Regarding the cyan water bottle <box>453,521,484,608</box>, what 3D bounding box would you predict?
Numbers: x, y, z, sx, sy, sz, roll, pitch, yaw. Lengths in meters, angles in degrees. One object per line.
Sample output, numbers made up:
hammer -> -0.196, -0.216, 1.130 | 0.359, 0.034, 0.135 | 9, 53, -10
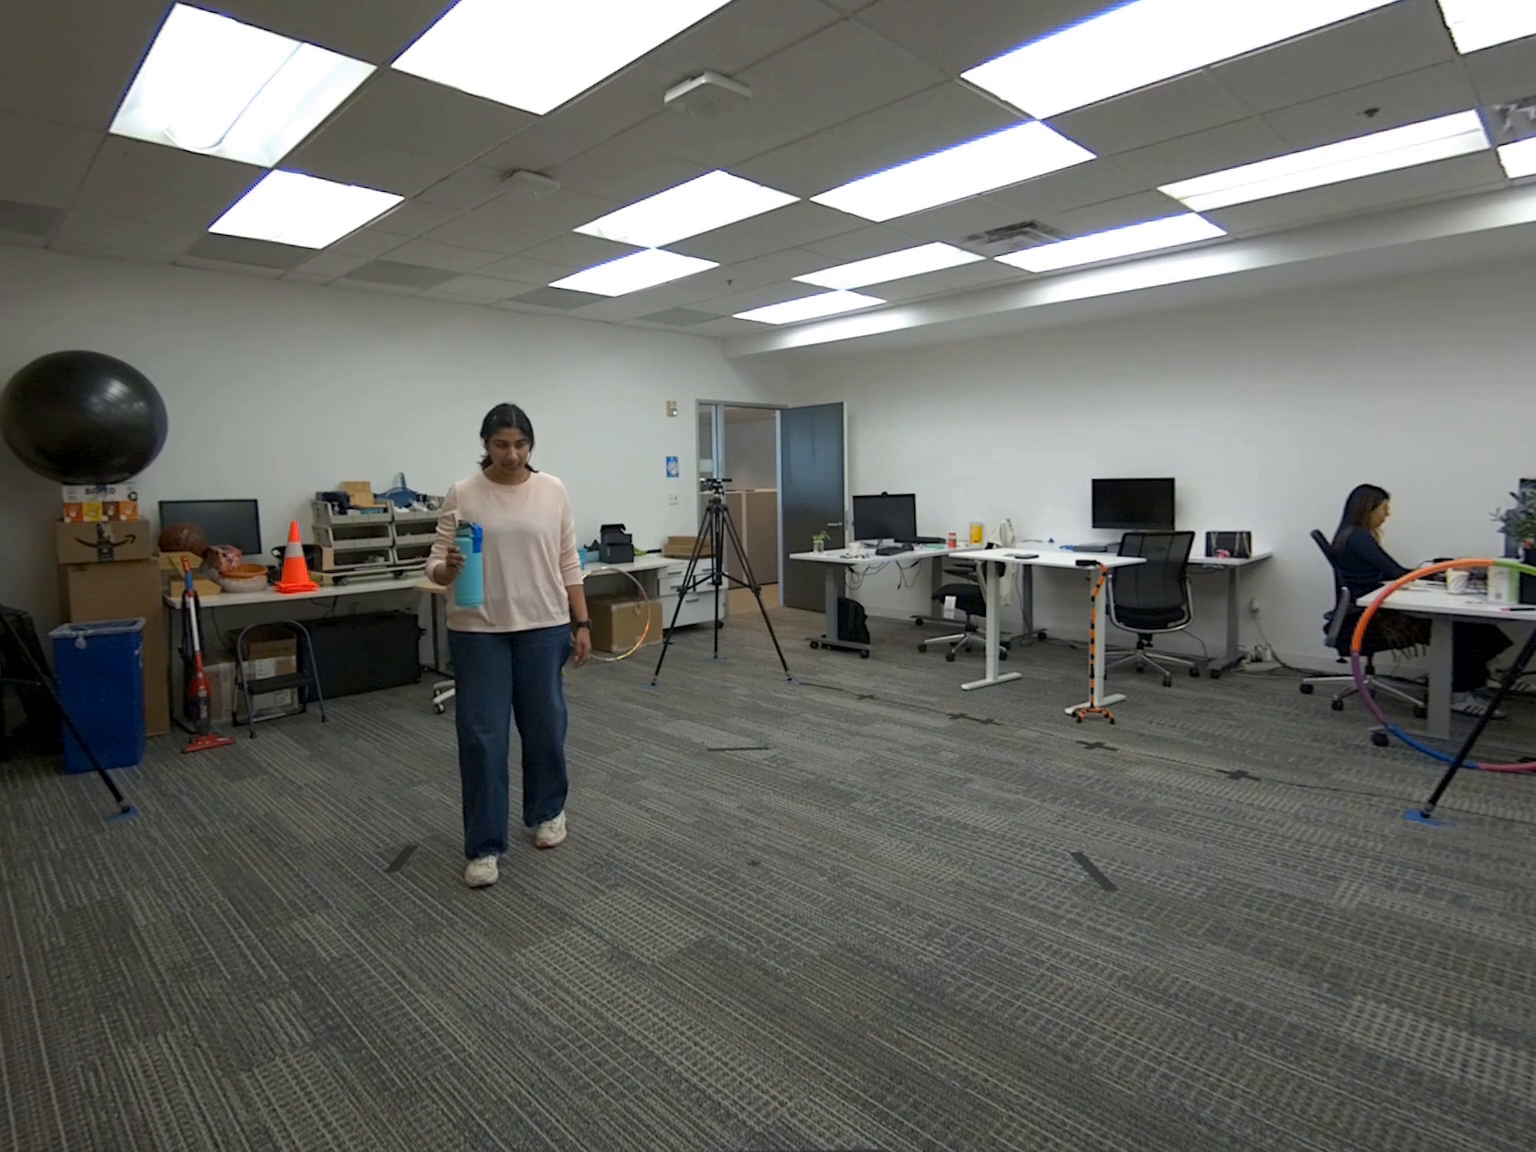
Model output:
cyan water bottle -> -0.995, -0.043, 2.815 | 0.092, 0.282, 0.093 | 3, 5, -2
